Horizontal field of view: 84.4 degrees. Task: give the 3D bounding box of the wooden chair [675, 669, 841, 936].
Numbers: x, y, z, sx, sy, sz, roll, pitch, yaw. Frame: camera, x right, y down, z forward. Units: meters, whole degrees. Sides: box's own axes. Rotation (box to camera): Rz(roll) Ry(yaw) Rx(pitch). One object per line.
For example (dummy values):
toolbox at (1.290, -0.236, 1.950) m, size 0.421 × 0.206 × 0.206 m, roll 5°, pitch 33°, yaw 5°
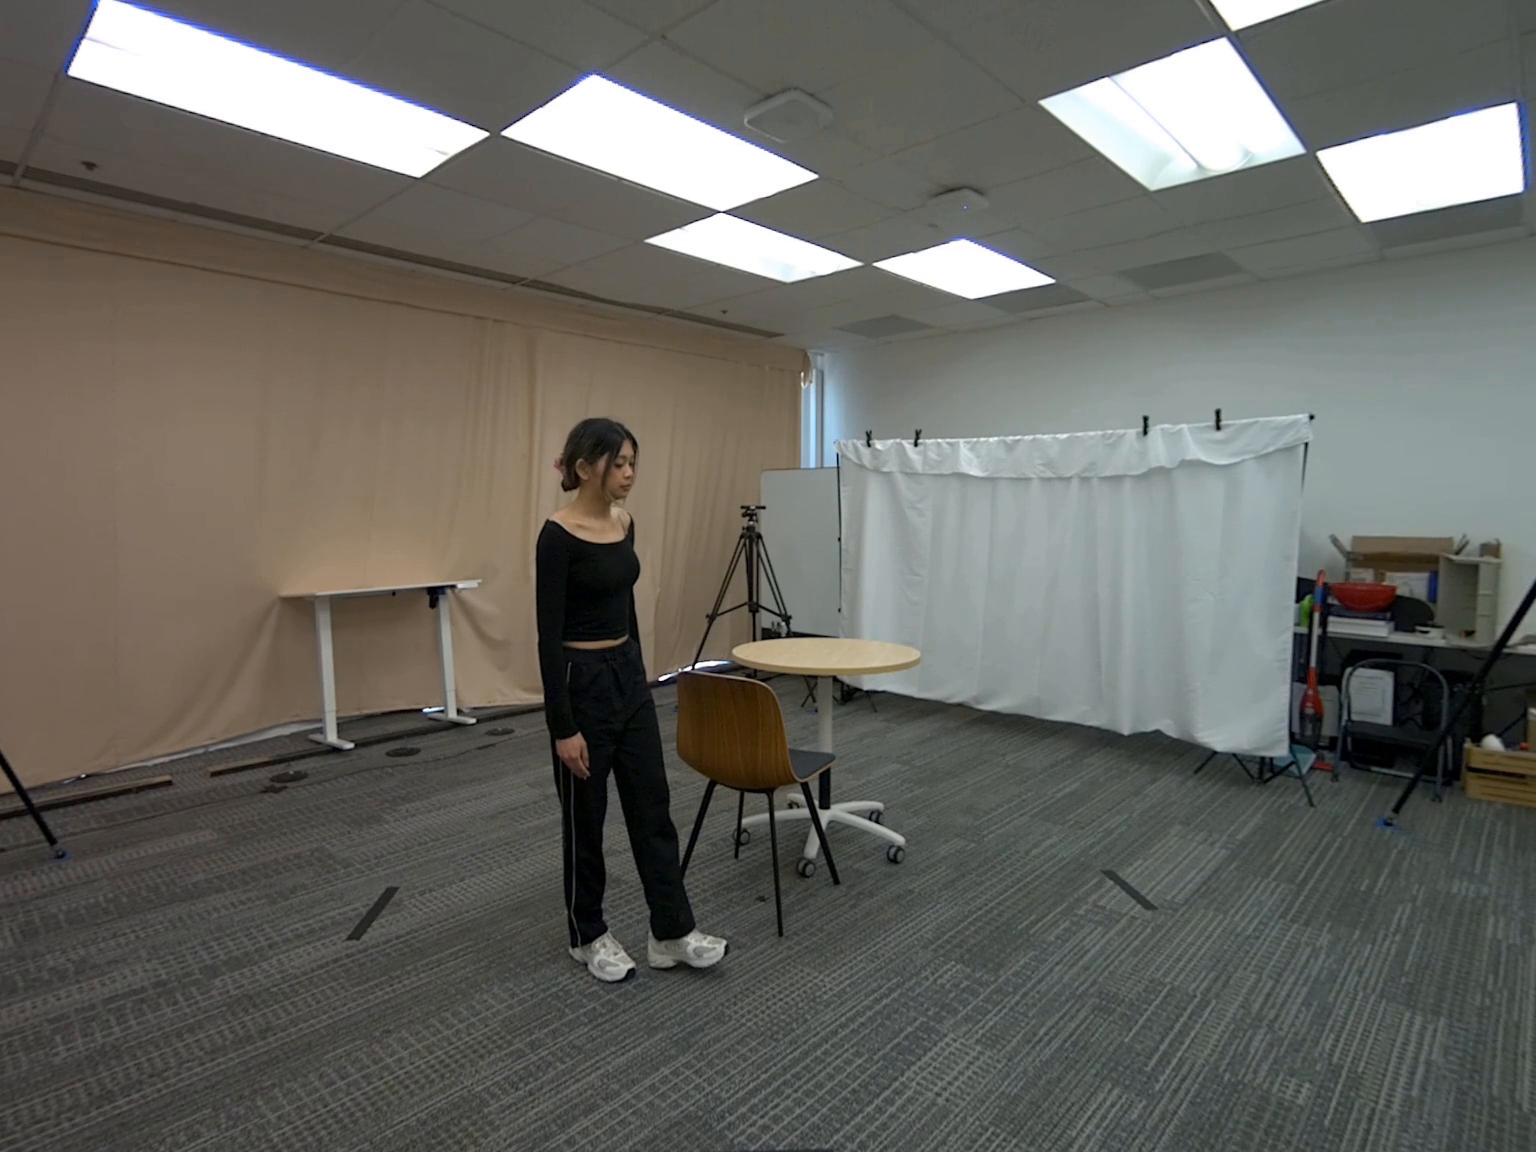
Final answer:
wooden chair at (-0.033, 0.714, 3.002) m, size 0.492 × 0.873 × 0.510 m, roll 2°, pitch 8°, yaw 32°
